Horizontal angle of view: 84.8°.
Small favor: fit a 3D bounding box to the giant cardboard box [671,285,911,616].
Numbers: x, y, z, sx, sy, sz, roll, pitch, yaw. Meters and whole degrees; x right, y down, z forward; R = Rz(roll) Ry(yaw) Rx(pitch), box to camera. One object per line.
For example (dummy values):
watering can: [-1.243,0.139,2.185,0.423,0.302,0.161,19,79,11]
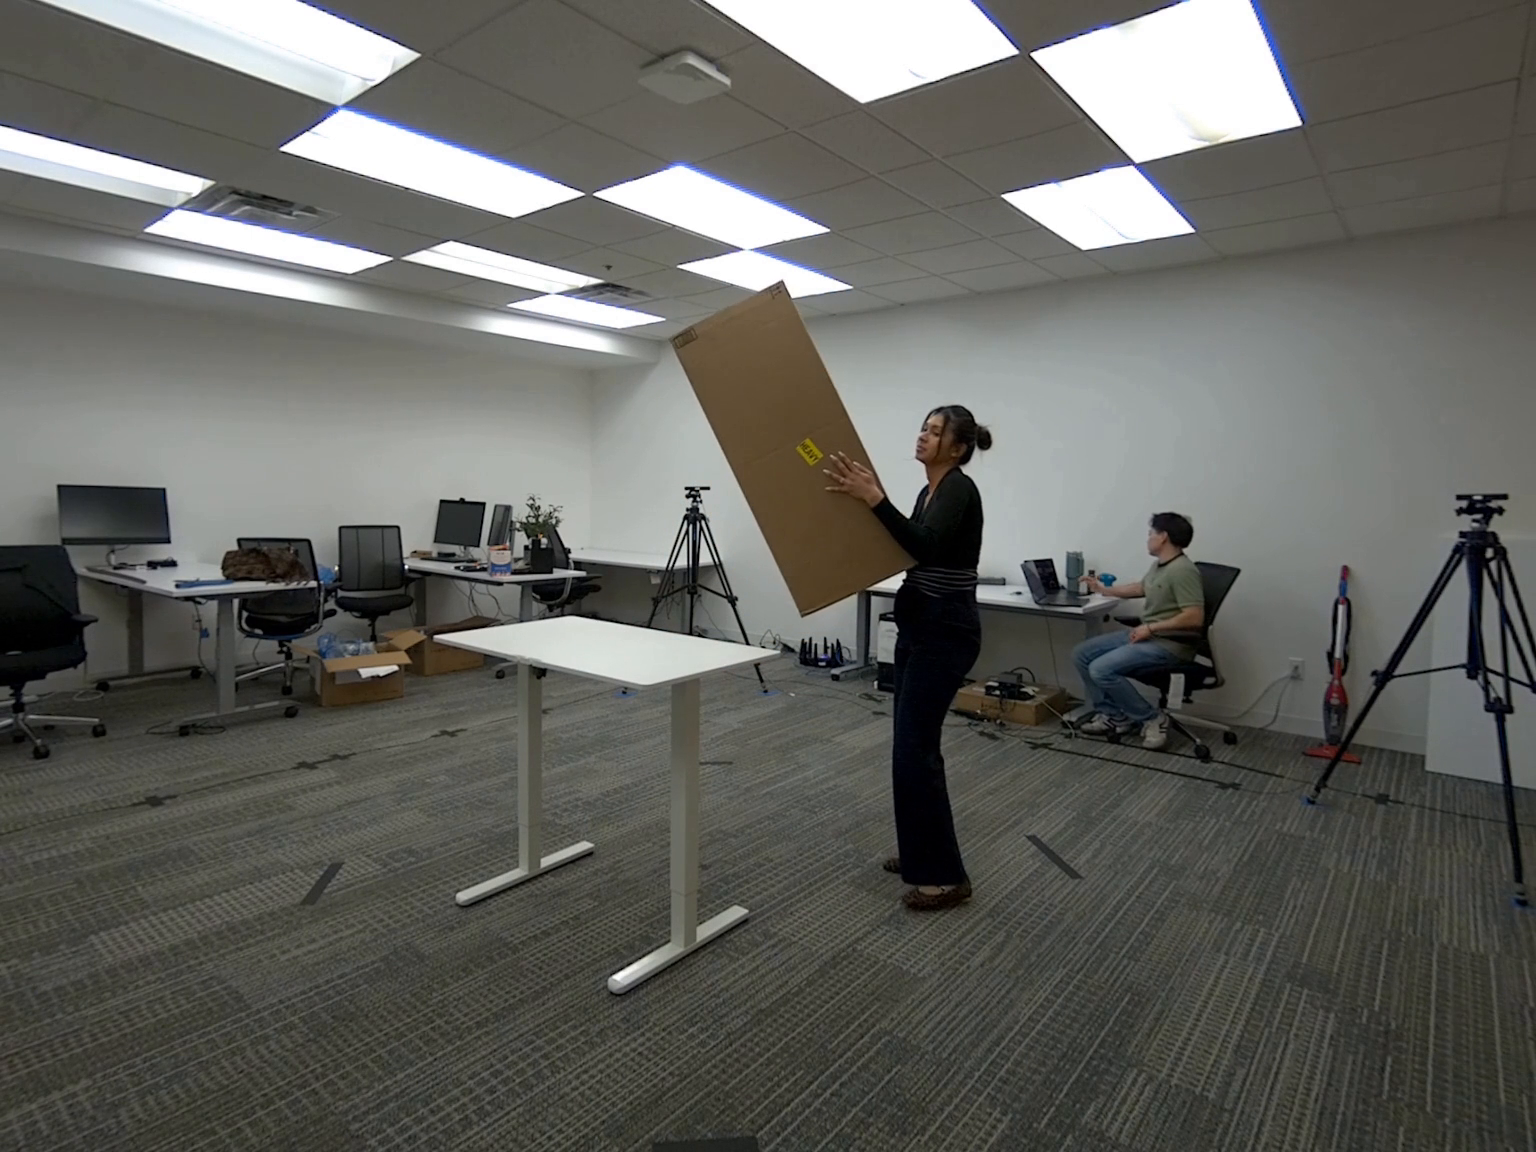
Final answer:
giant cardboard box: [0.085,-0.437,3.047,0.428,1.027,0.575,-25,0,6]
